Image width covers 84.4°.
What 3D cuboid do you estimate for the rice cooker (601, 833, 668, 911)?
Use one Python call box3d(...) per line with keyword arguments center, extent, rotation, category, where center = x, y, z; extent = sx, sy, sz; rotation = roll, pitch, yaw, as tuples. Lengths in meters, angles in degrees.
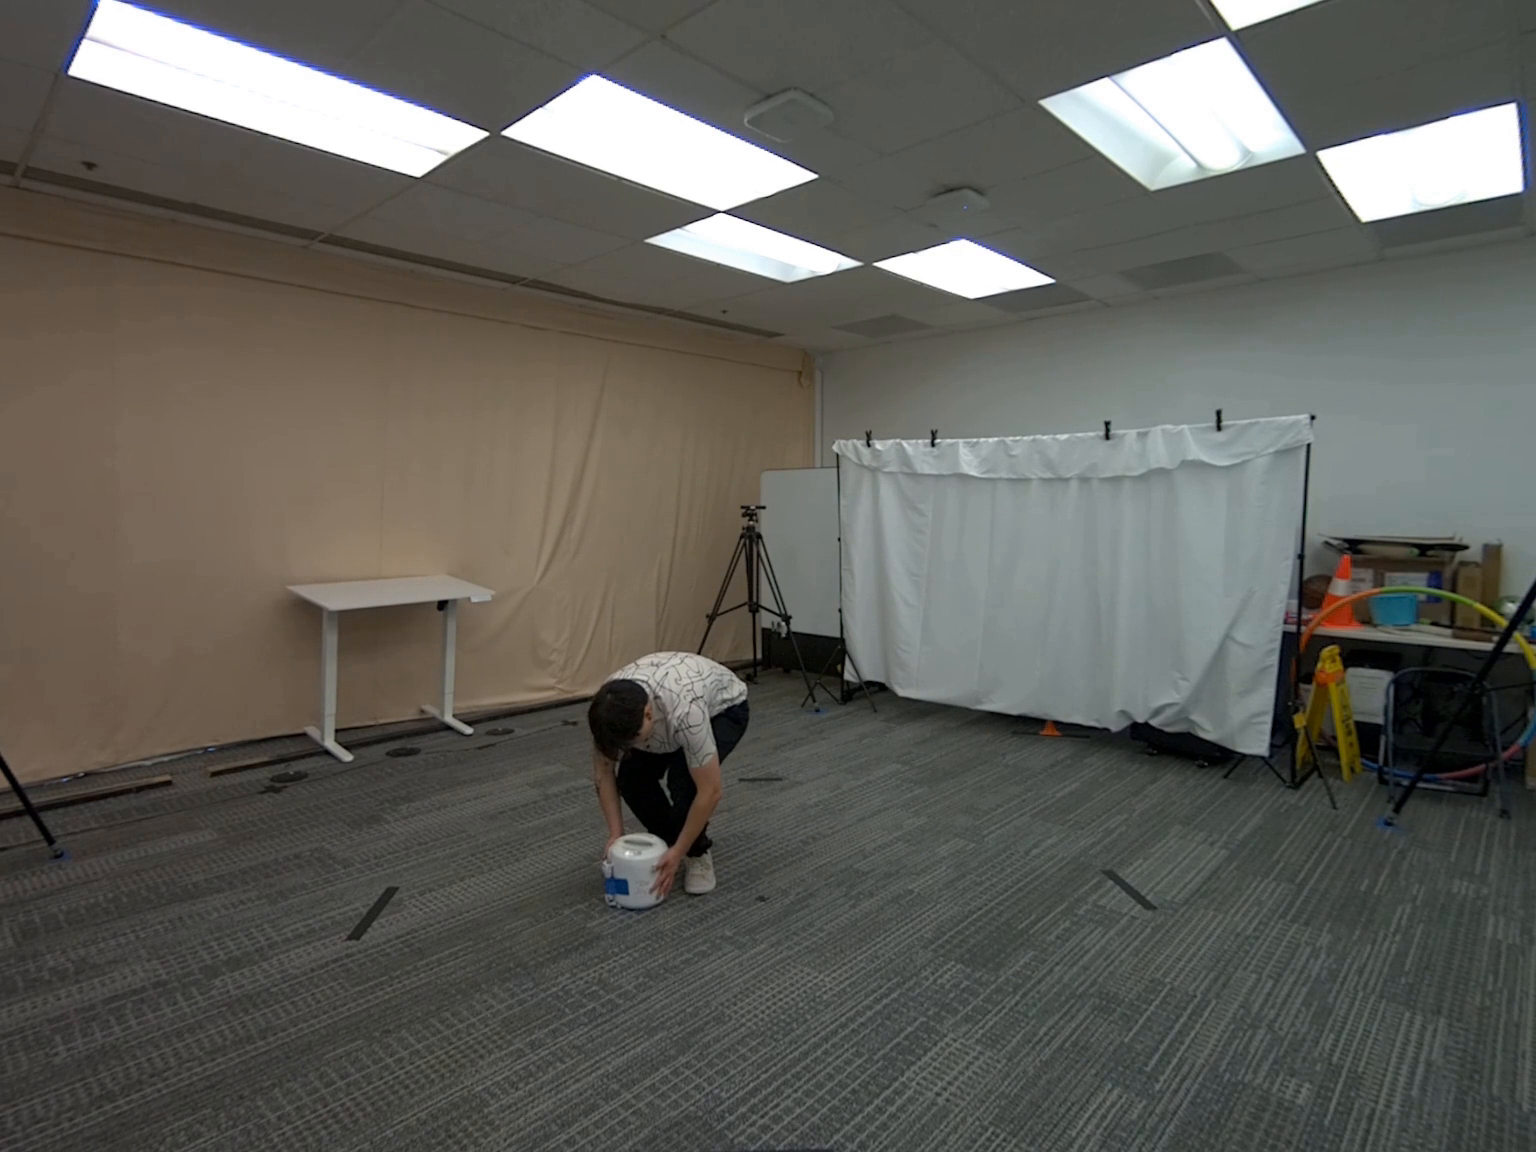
box3d(center=(-0.459, 1.027, 2.989), extent=(0.223, 0.232, 0.216), rotation=(-1, 7, 8), category="rice cooker")
